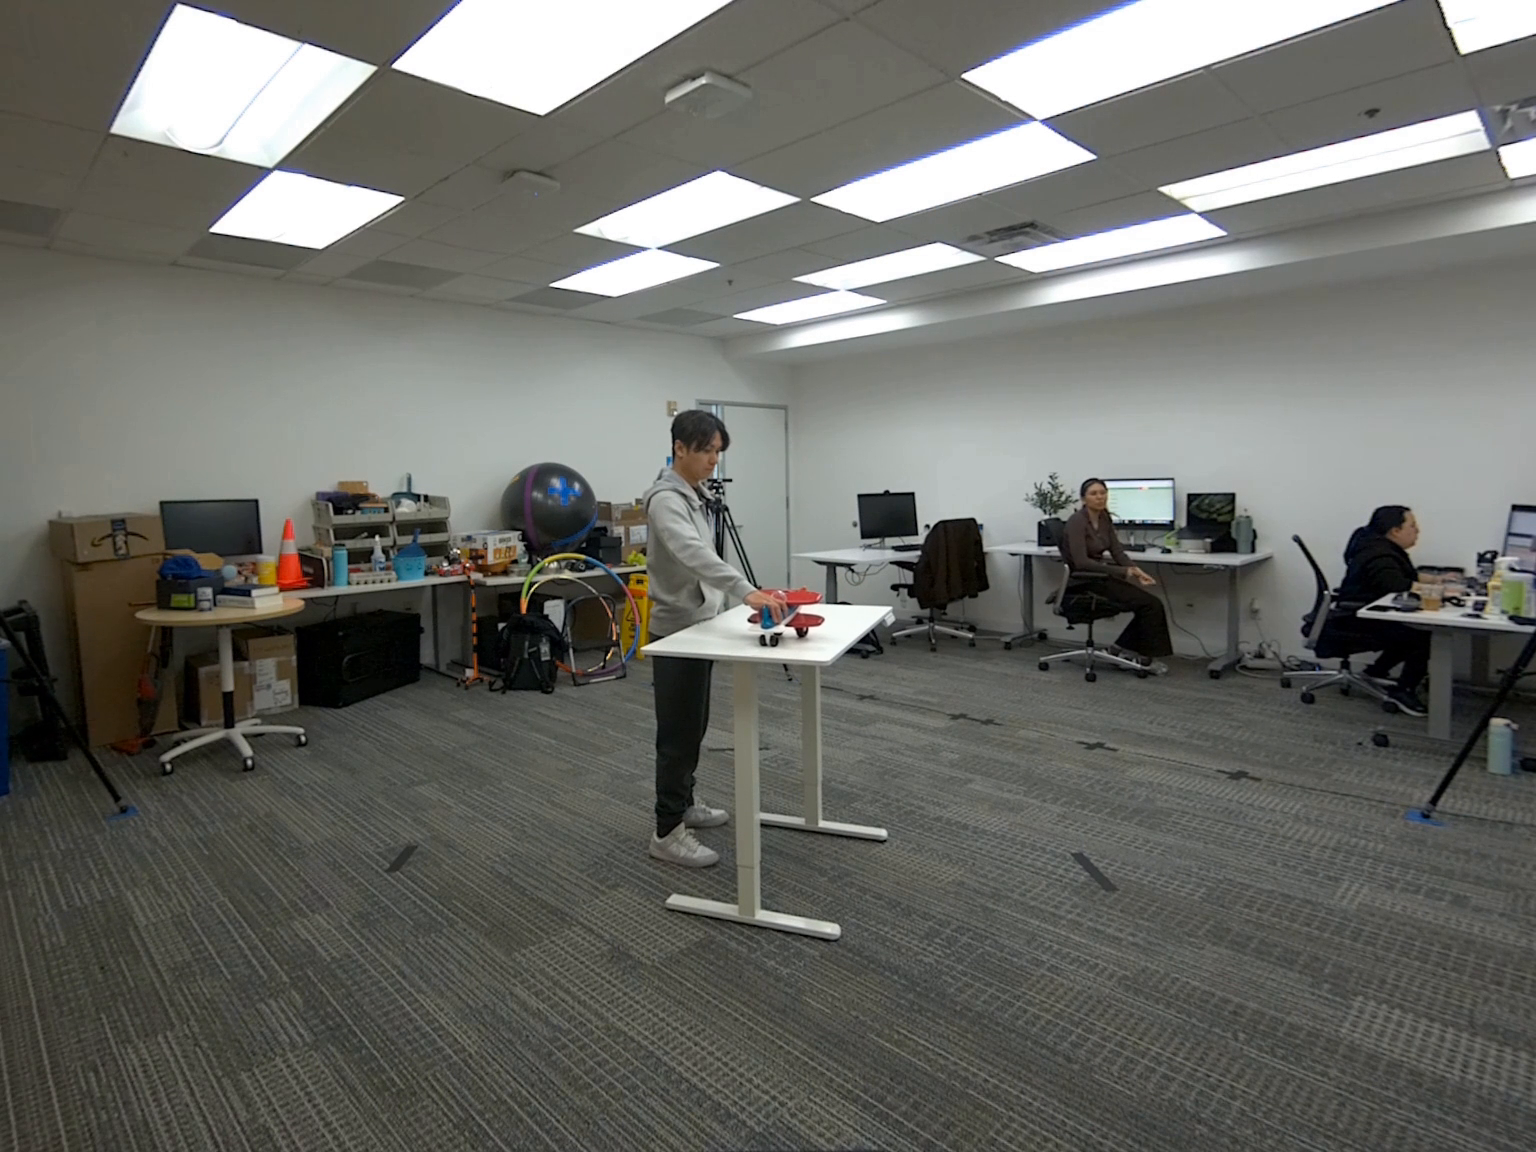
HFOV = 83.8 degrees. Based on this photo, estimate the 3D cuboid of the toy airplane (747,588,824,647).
[{"bbox_3d":[0.062,0.131,2.718,0.250,0.156,0.261,-3,5,-5],"label":"toy airplane"}]
